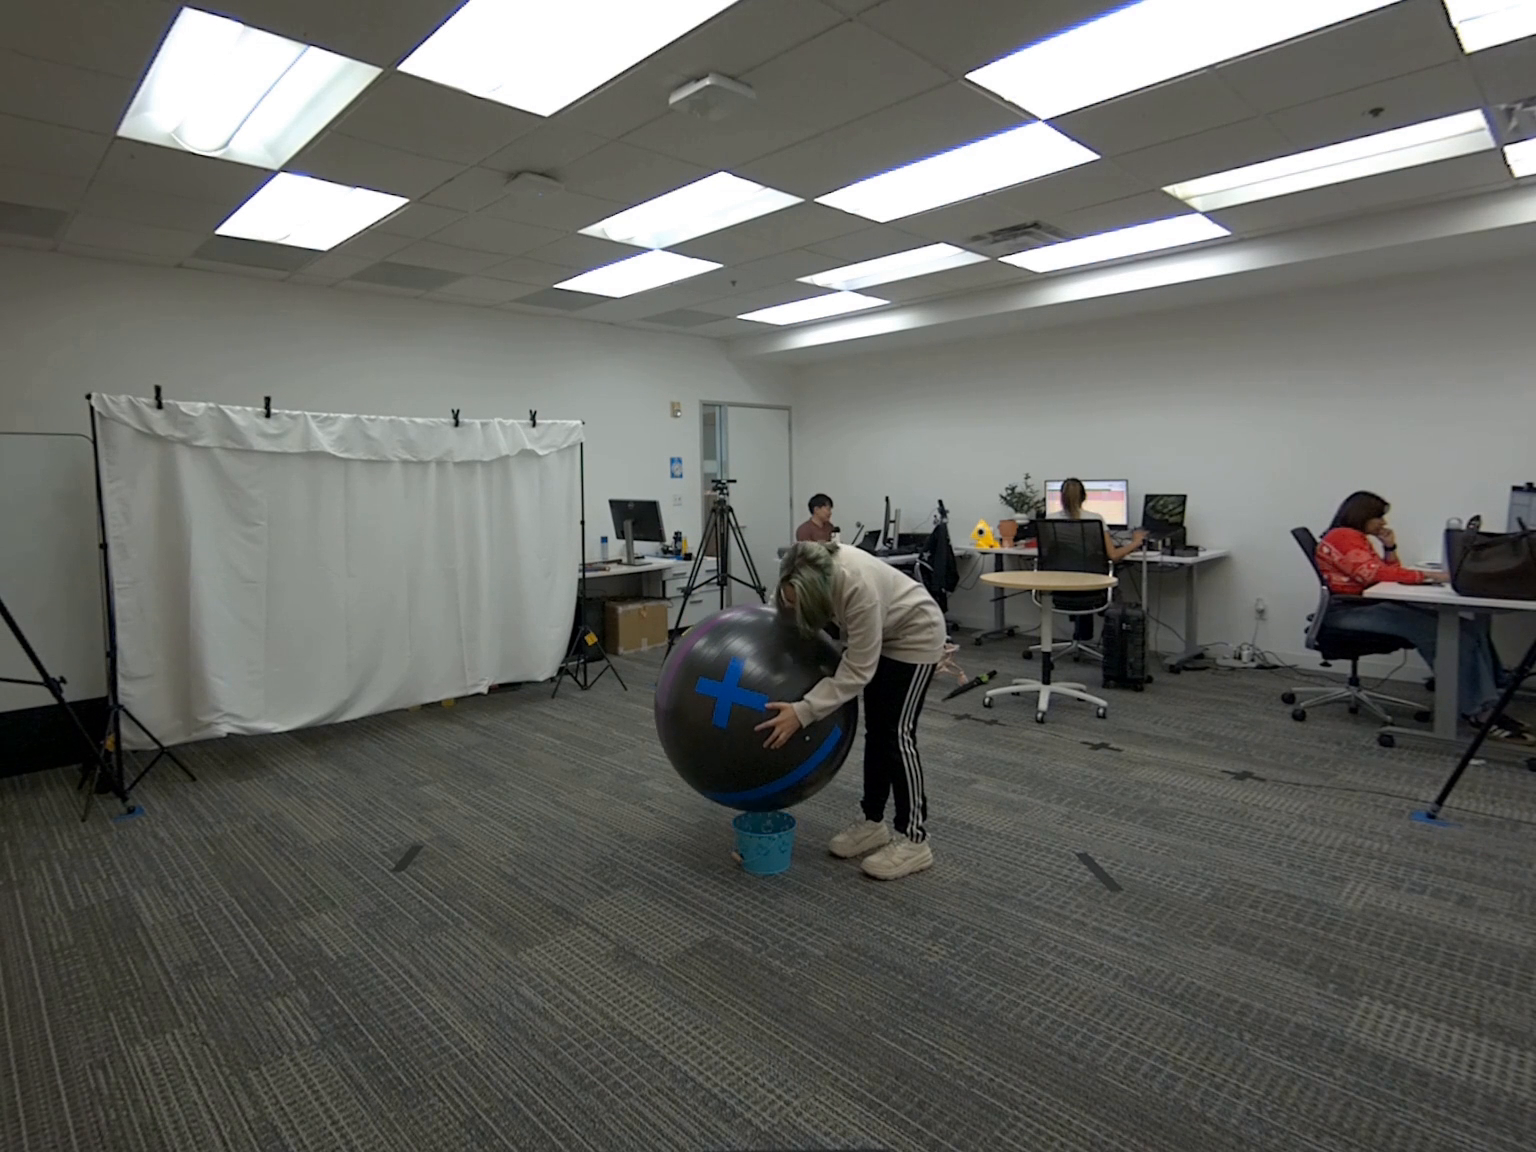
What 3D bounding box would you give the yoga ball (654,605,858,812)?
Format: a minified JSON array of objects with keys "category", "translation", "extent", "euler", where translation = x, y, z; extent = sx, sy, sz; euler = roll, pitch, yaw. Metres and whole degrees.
[{"category":"yoga ball","translation":[-0.049,0.482,3.195],"extent":[0.757,0.755,0.762],"euler":[-1,5,-2]}]
